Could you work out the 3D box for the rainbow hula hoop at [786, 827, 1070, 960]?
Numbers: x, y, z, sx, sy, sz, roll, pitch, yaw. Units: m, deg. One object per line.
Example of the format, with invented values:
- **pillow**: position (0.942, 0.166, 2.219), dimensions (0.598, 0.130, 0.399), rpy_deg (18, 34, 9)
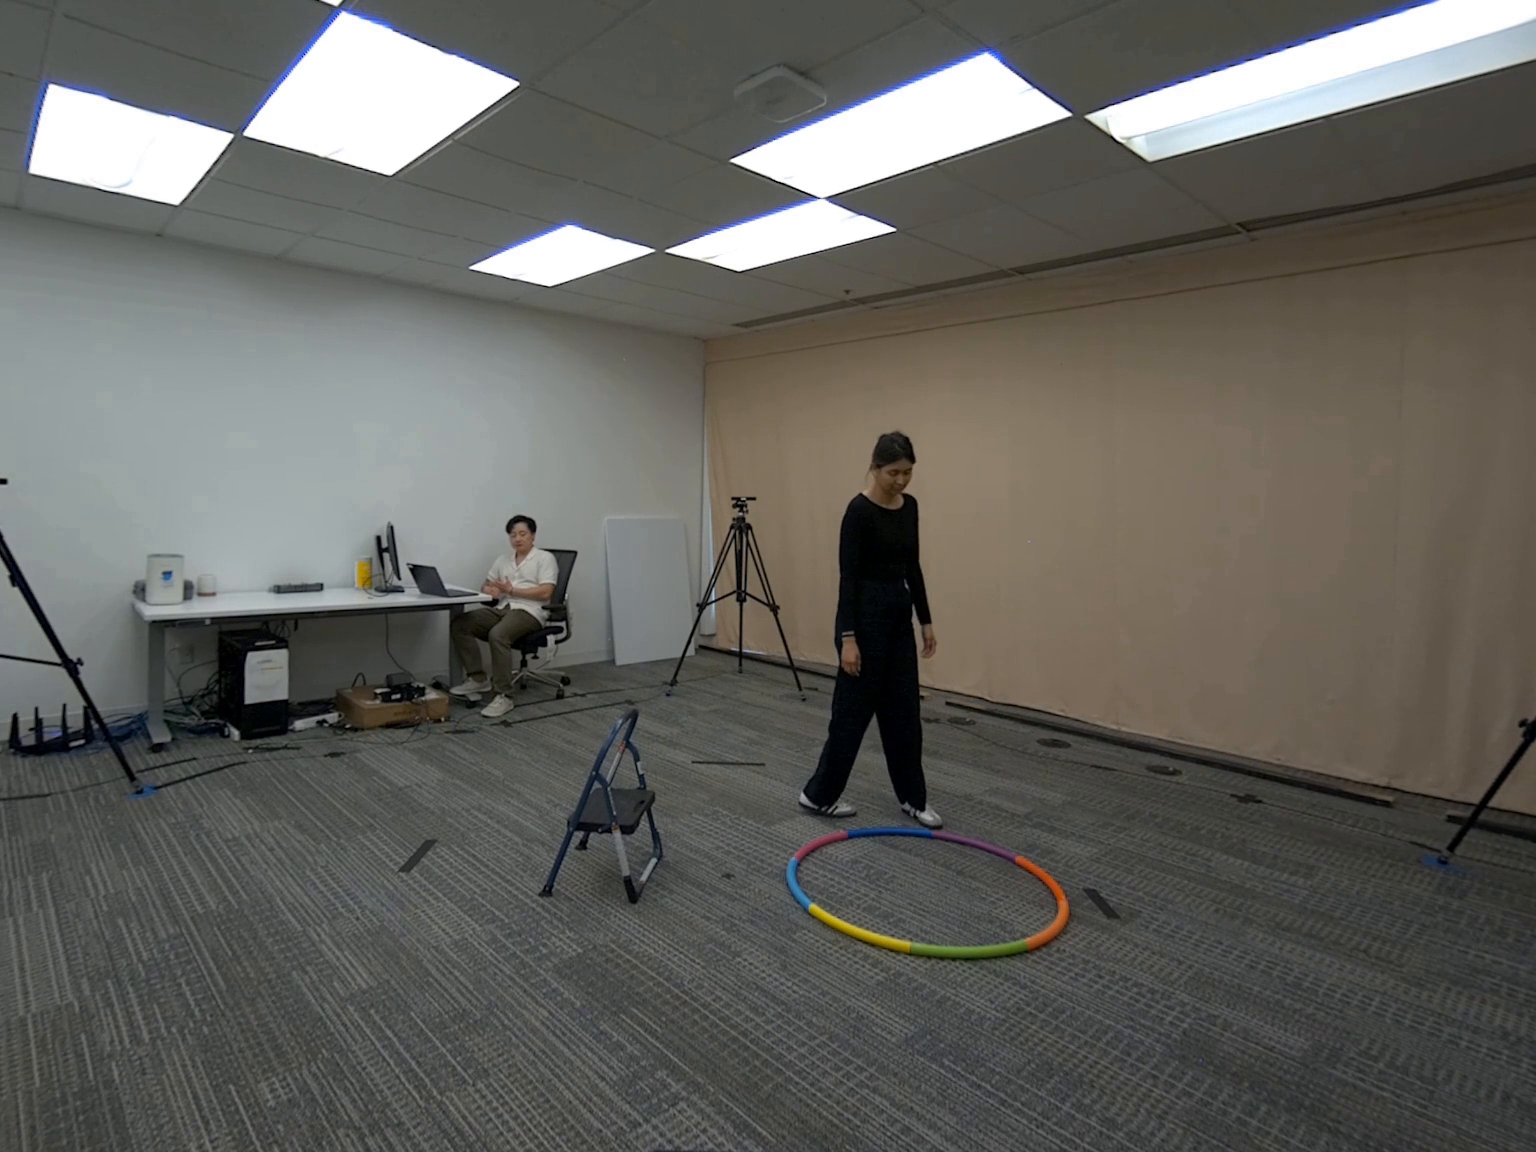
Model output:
- **rainbow hula hoop**: position (0.545, 1.094, 3.057), dimensions (0.978, 0.035, 0.982), rpy_deg (1, 5, -1)
